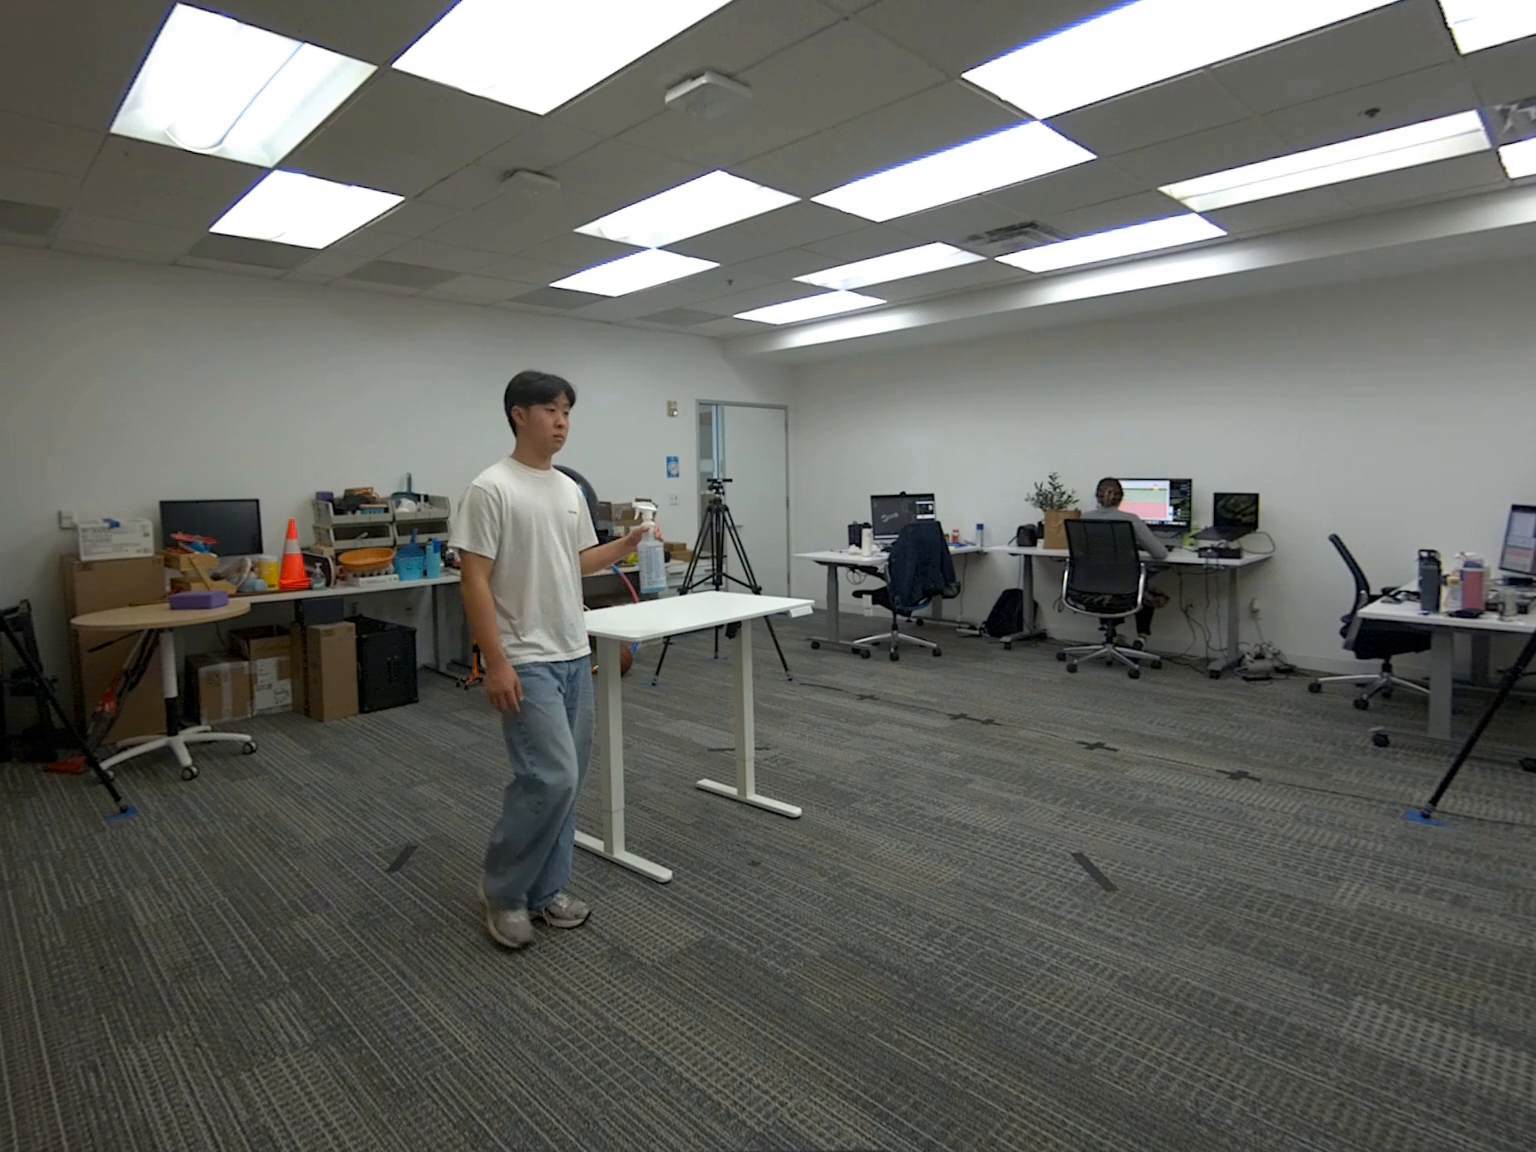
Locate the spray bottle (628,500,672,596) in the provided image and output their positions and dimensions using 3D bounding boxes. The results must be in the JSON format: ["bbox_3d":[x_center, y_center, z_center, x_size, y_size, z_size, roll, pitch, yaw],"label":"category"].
[{"bbox_3d":[-0.389,-0.092,2.808,0.089,0.298,0.088,-7,-3,-16],"label":"spray bottle"}]
